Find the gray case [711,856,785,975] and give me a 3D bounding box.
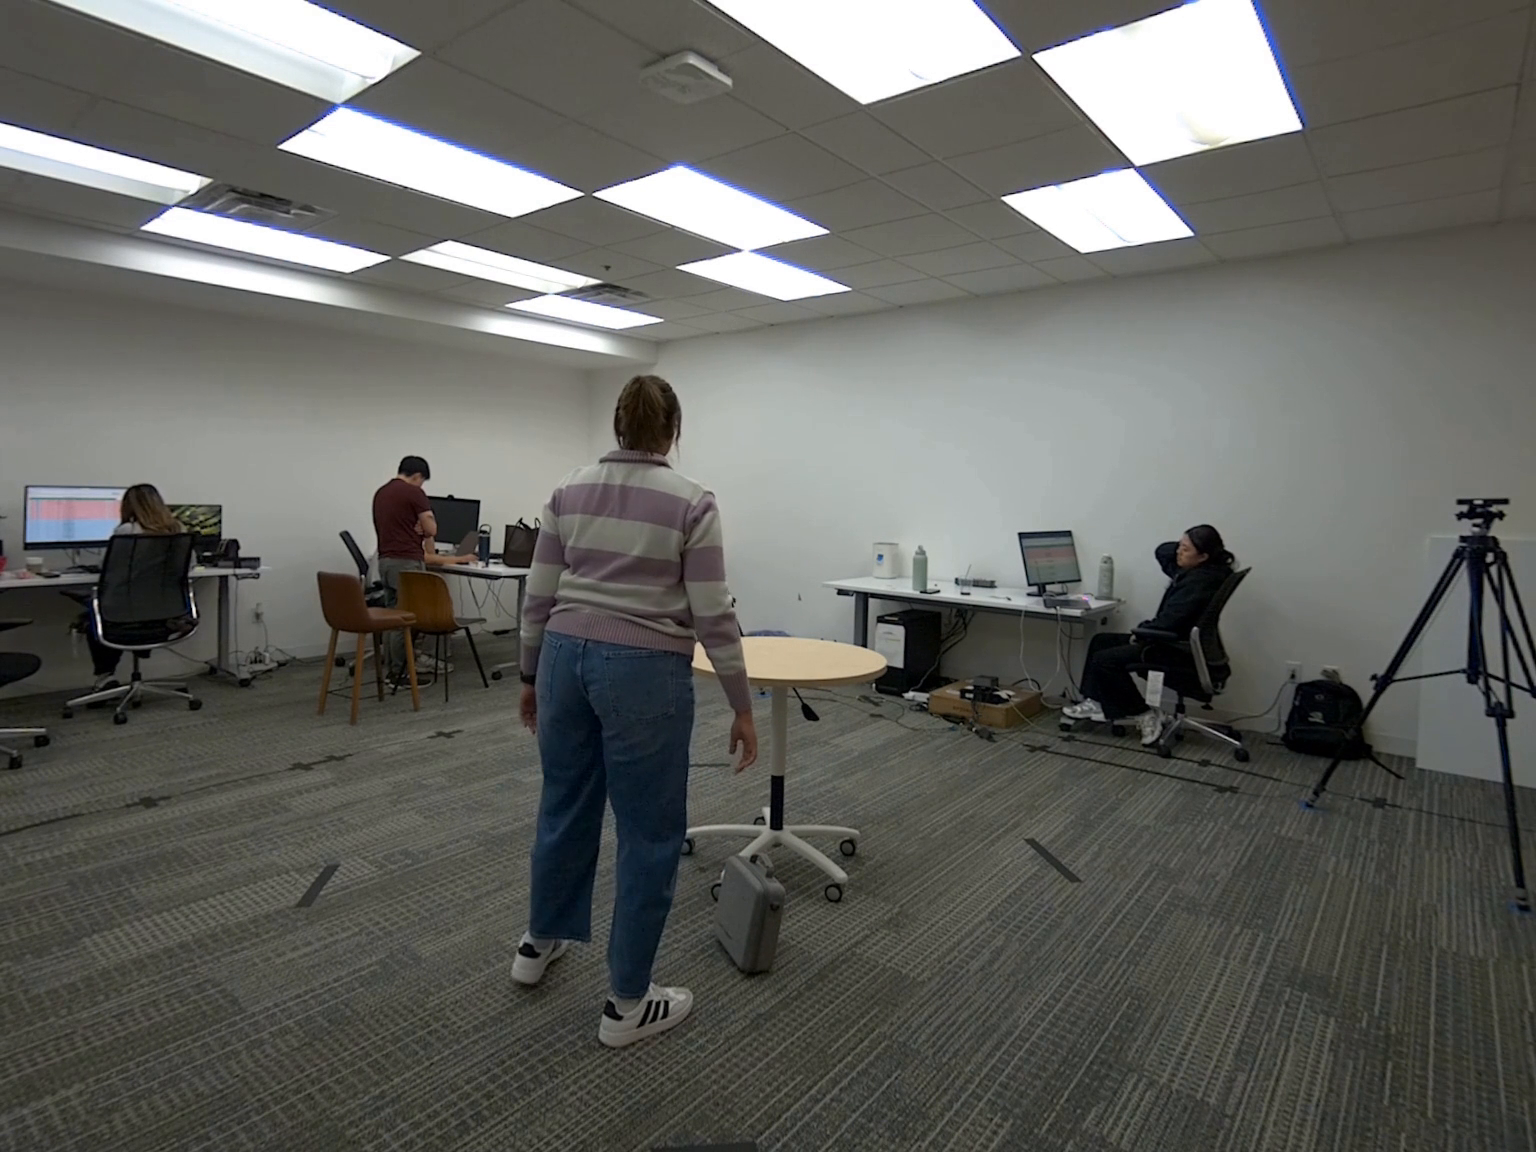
[{"bbox_3d":[-0.068,0.989,2.544,0.102,0.261,0.263,9,0,-24],"label":"gray case"}]
